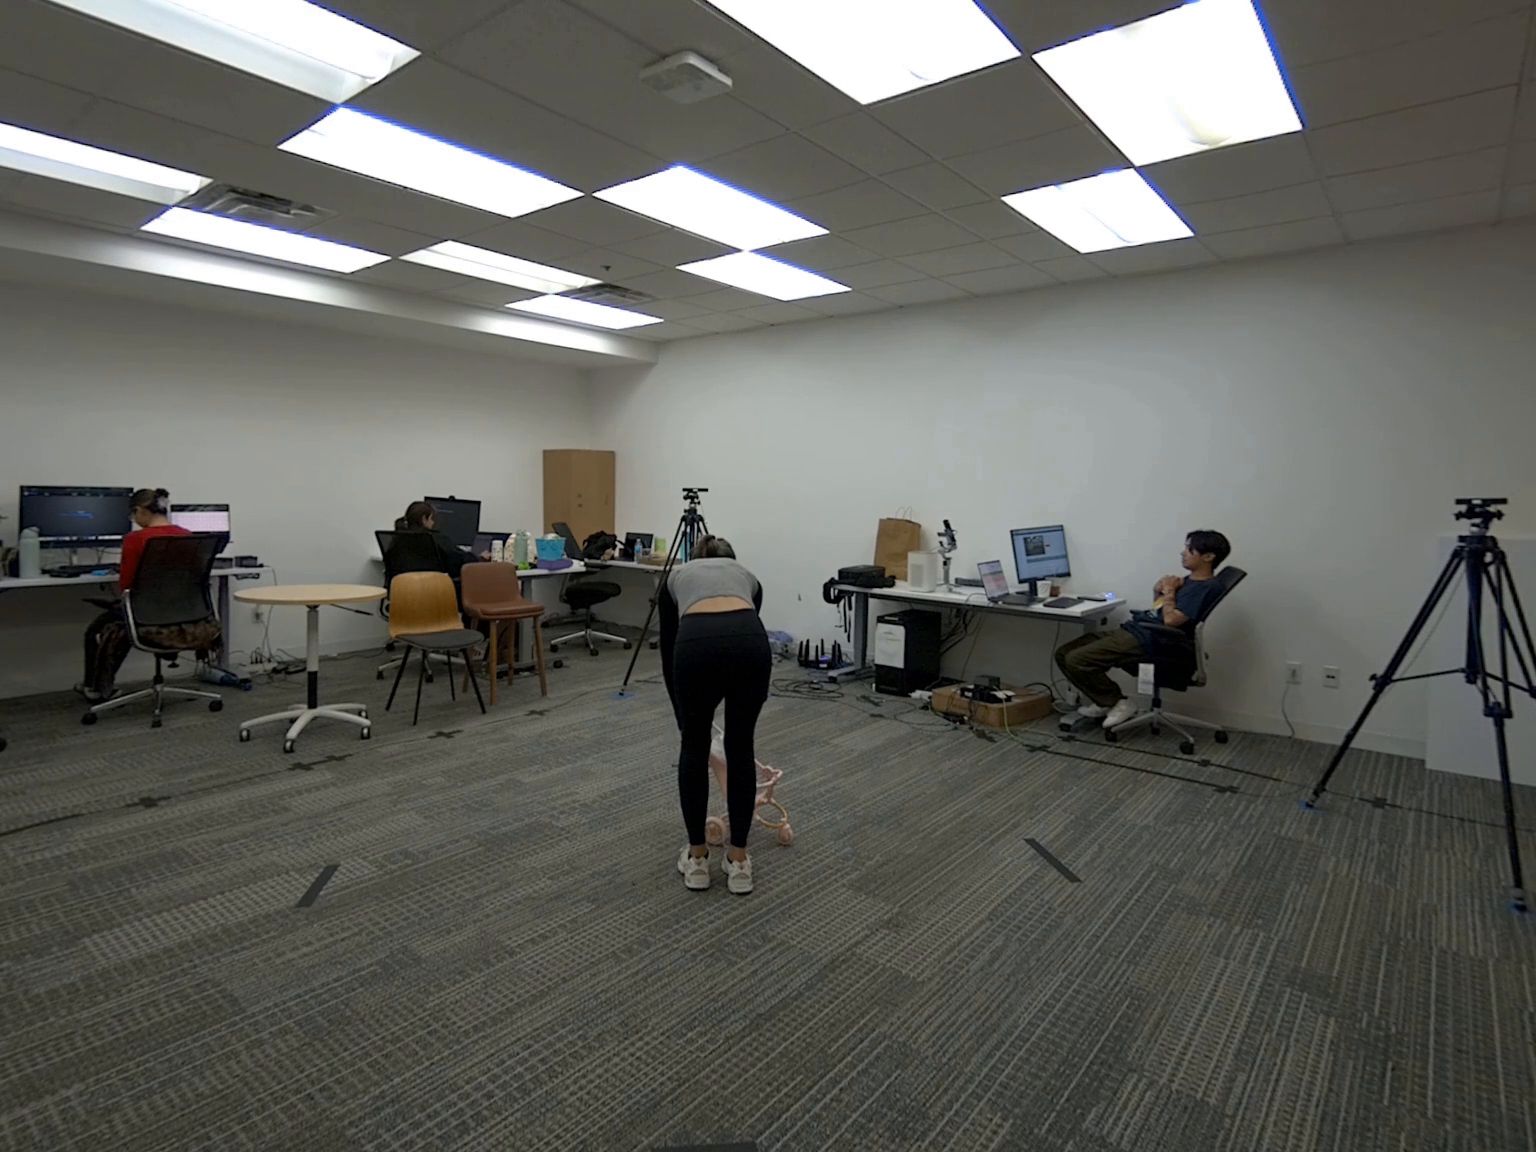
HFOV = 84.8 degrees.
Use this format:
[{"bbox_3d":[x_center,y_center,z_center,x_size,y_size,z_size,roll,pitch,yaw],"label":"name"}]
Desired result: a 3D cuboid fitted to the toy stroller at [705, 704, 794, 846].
[{"bbox_3d":[-0.112,0.814,3.400,0.348,0.536,0.275,-13,-2,25],"label":"toy stroller"}]
